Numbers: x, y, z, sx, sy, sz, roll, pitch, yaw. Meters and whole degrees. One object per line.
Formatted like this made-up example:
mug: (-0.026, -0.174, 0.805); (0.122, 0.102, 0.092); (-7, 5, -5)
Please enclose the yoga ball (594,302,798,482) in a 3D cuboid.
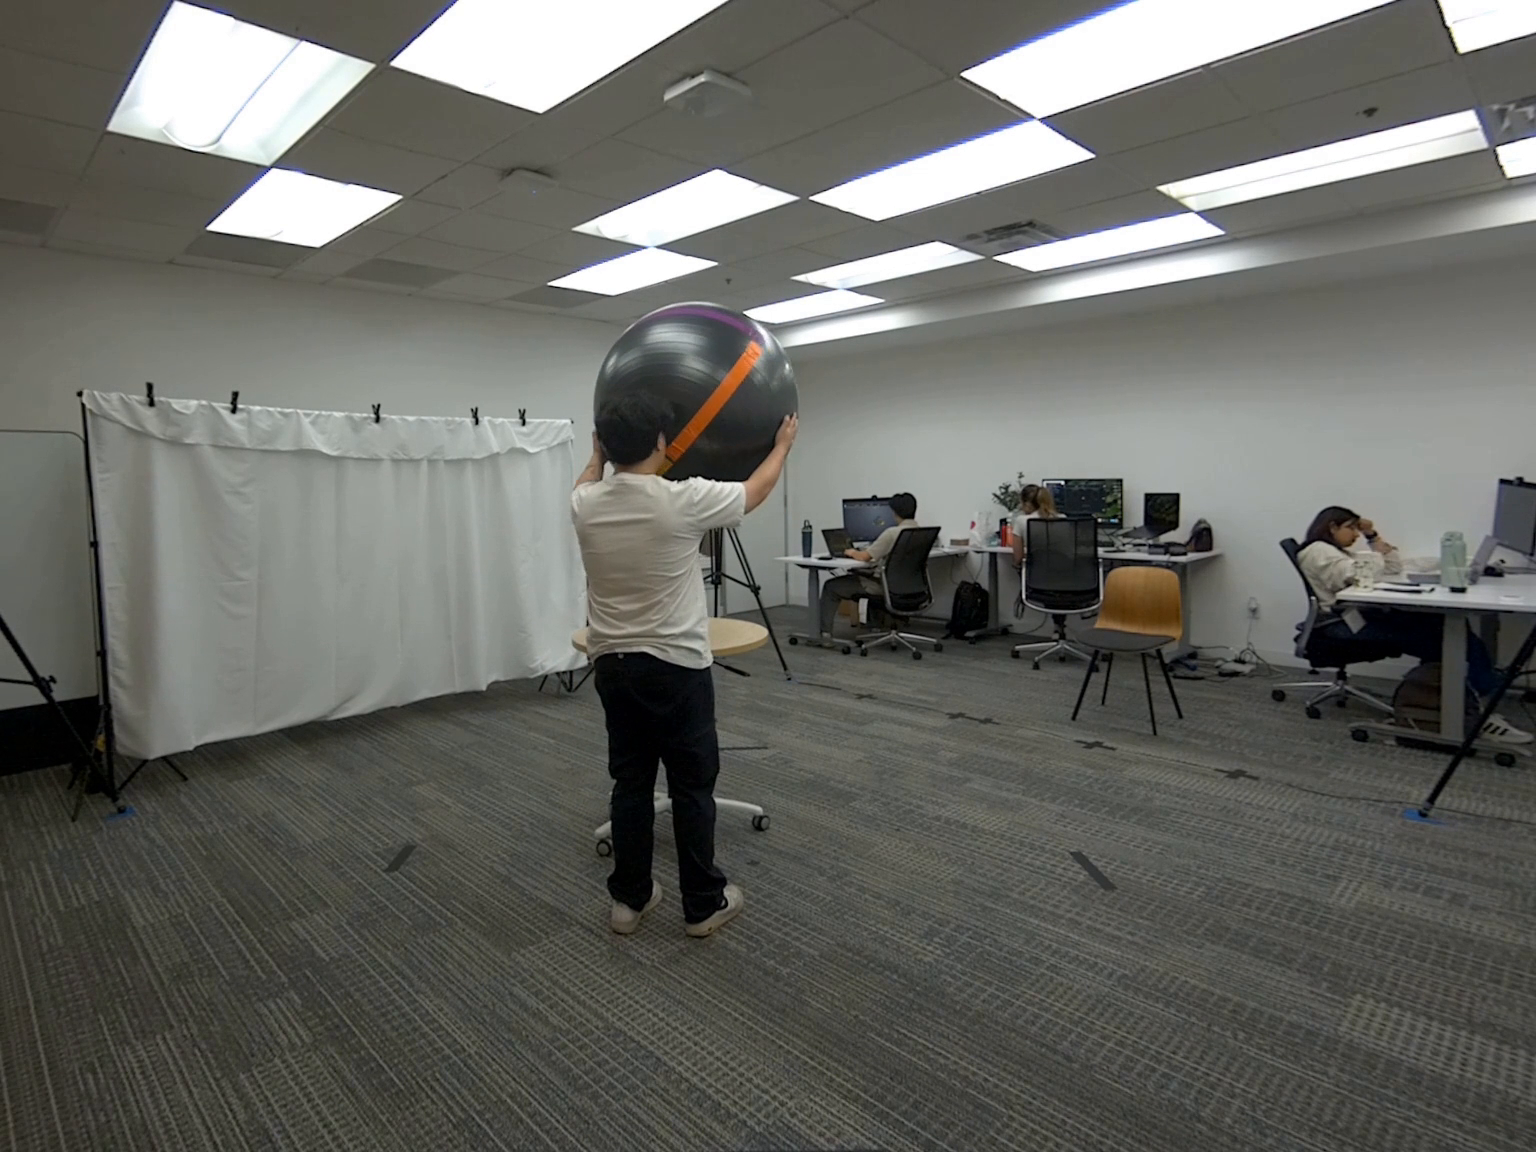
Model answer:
yoga ball: (-0.263, -0.613, 3.159); (0.757, 0.755, 0.762); (-1, 5, -2)
